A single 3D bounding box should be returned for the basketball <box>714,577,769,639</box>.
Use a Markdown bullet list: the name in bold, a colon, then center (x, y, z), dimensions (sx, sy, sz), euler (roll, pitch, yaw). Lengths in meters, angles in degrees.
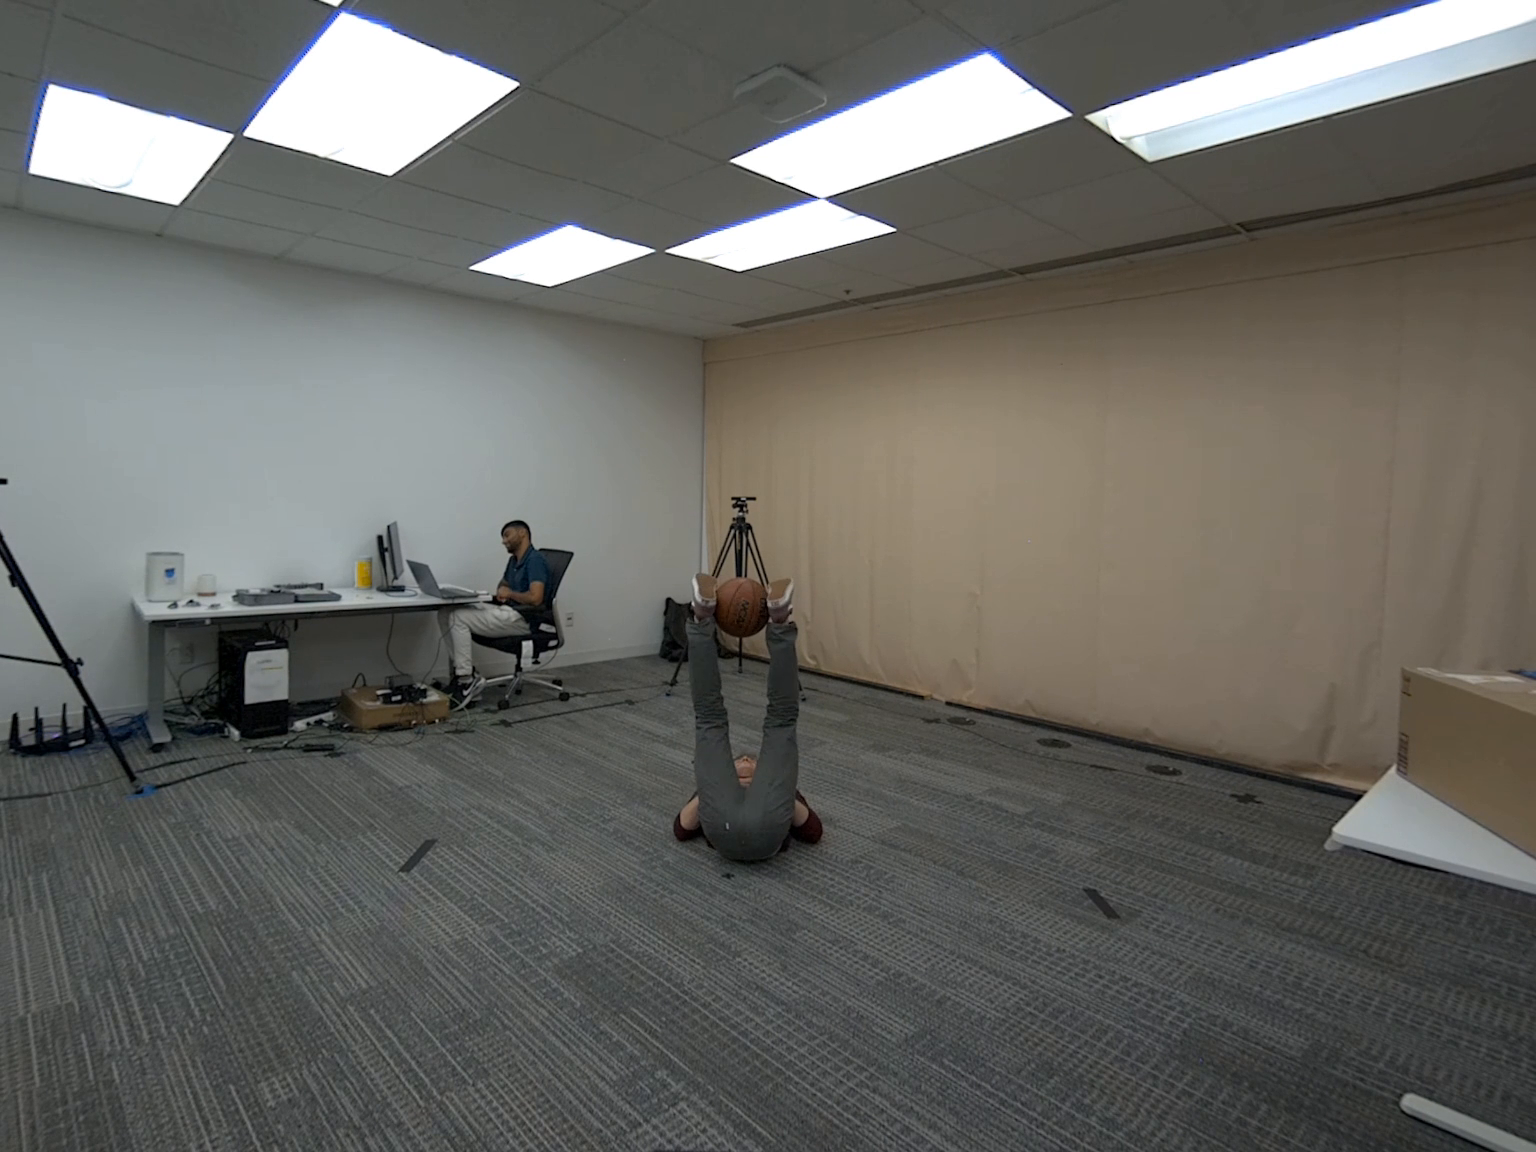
- **basketball**: center (-0.116, 0.125, 3.335), dimensions (0.236, 0.234, 0.237), euler (0, 7, -1)
